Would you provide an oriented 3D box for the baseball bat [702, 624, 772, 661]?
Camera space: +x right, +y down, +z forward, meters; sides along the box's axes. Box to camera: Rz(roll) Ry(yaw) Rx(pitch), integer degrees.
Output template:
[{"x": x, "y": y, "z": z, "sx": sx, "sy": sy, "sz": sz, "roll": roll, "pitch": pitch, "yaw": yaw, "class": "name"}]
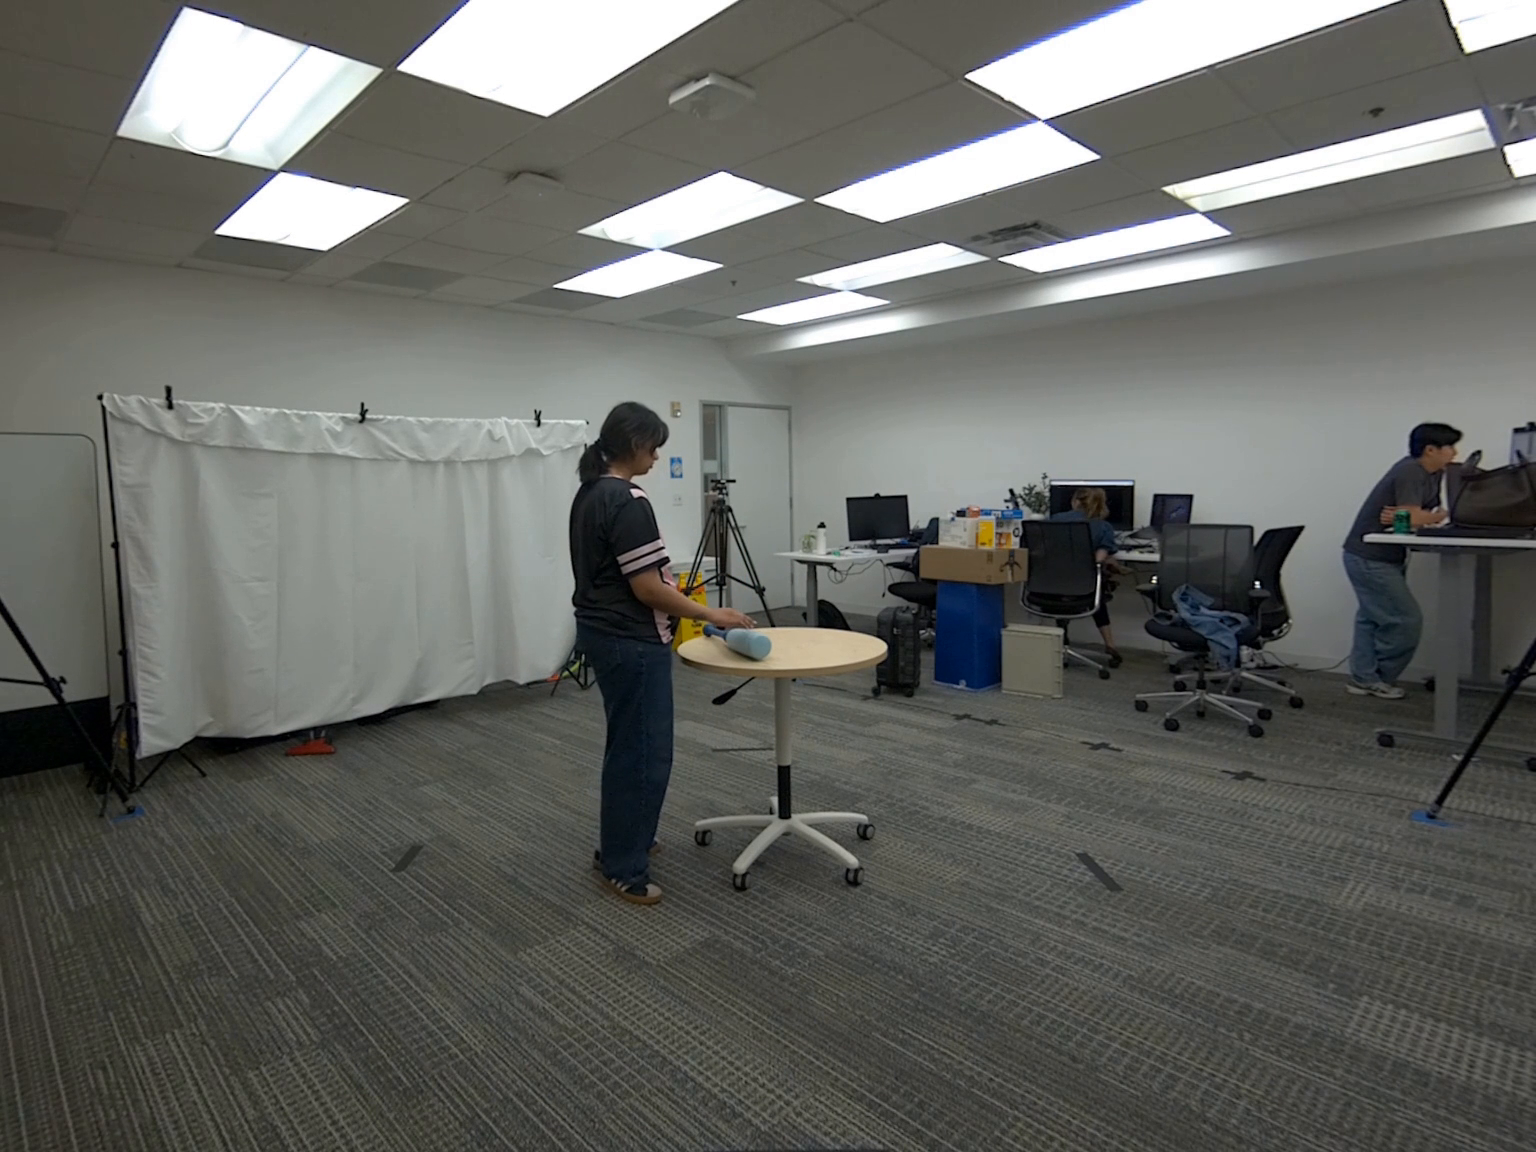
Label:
[{"x": -0.131, "y": 0.228, "z": 3.125, "sx": 0.087, "sy": 0.089, "sz": 0.554, "roll": -3, "pitch": 3, "yaw": -22, "class": "baseball bat"}]
